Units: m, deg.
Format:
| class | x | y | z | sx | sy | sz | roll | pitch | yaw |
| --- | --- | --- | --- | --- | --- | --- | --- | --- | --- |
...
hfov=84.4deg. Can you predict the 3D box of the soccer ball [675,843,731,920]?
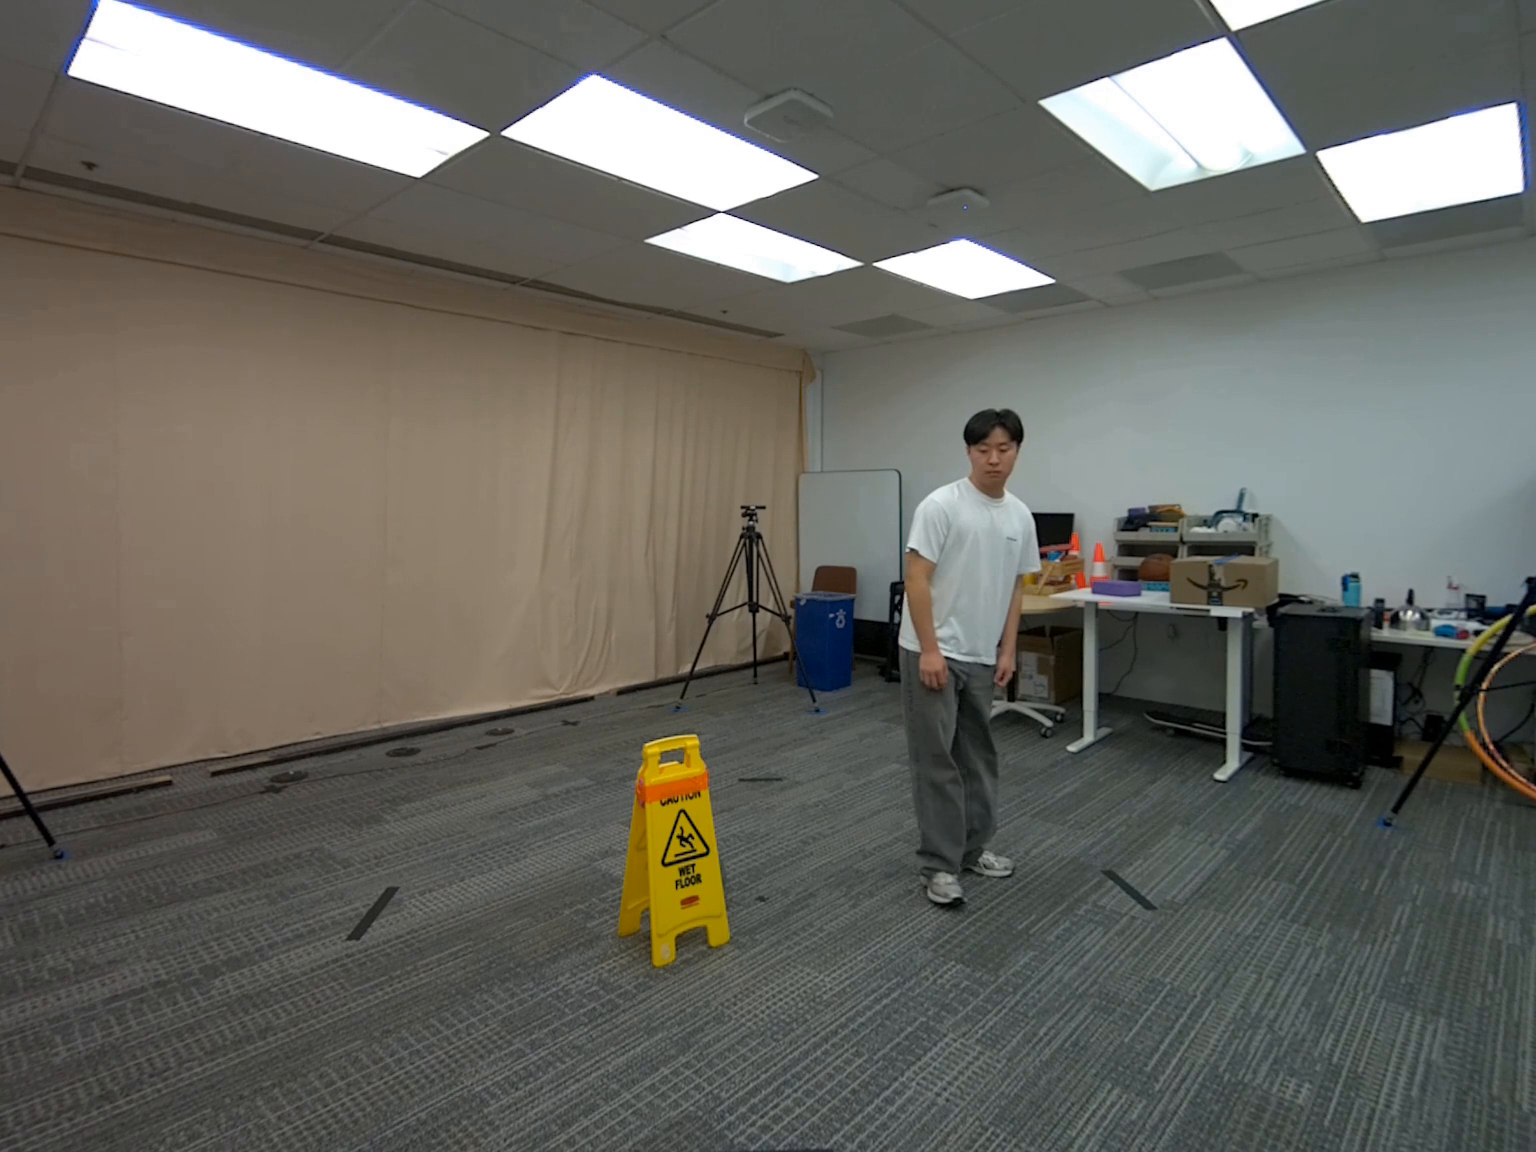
| class | x | y | z | sx | sy | sz | roll | pitch | yaw |
| --- | --- | --- | --- | --- | --- | --- | --- | --- | --- |
| soccer ball | -0.228 | 1.061 | 2.958 | 0.187 | 0.187 | 0.188 | 0 | 4 | -2 |
